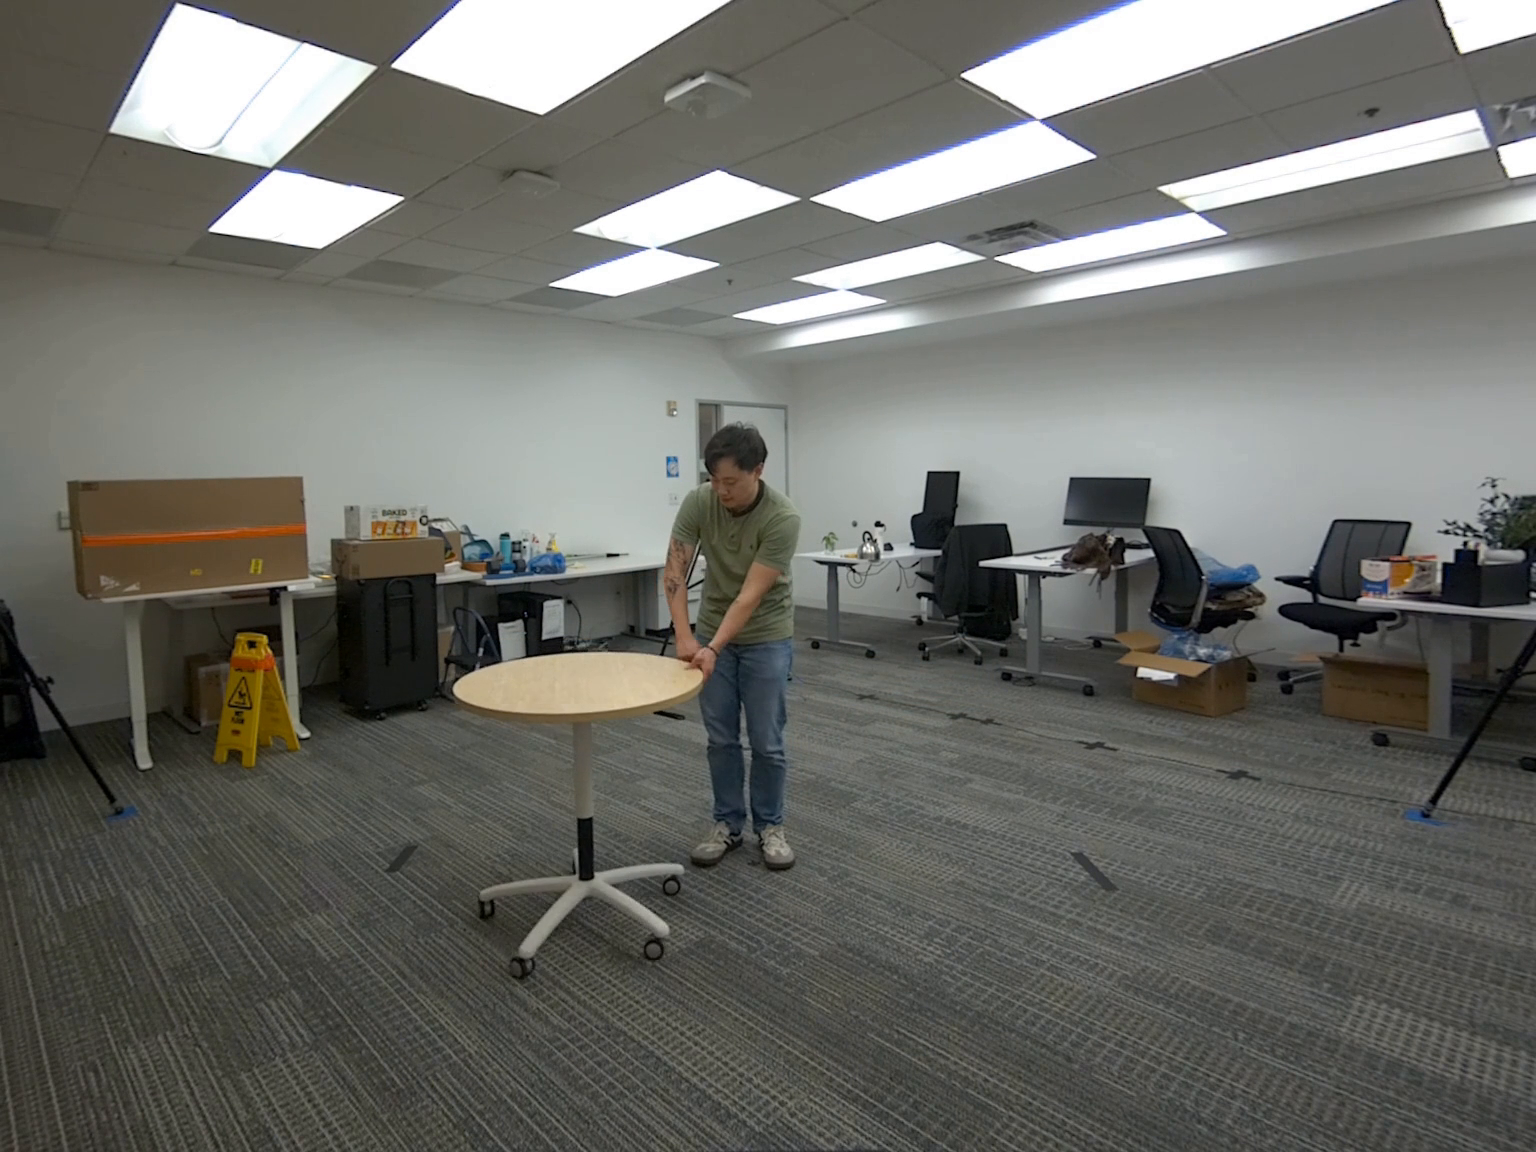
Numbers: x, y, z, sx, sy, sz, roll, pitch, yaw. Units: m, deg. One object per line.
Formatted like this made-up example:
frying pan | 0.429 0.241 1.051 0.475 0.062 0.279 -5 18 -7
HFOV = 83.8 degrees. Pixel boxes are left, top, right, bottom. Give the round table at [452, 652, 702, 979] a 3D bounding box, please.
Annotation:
round table | -0.575 0.712 2.705 0.763 0.790 0.768 -1 6 -2
